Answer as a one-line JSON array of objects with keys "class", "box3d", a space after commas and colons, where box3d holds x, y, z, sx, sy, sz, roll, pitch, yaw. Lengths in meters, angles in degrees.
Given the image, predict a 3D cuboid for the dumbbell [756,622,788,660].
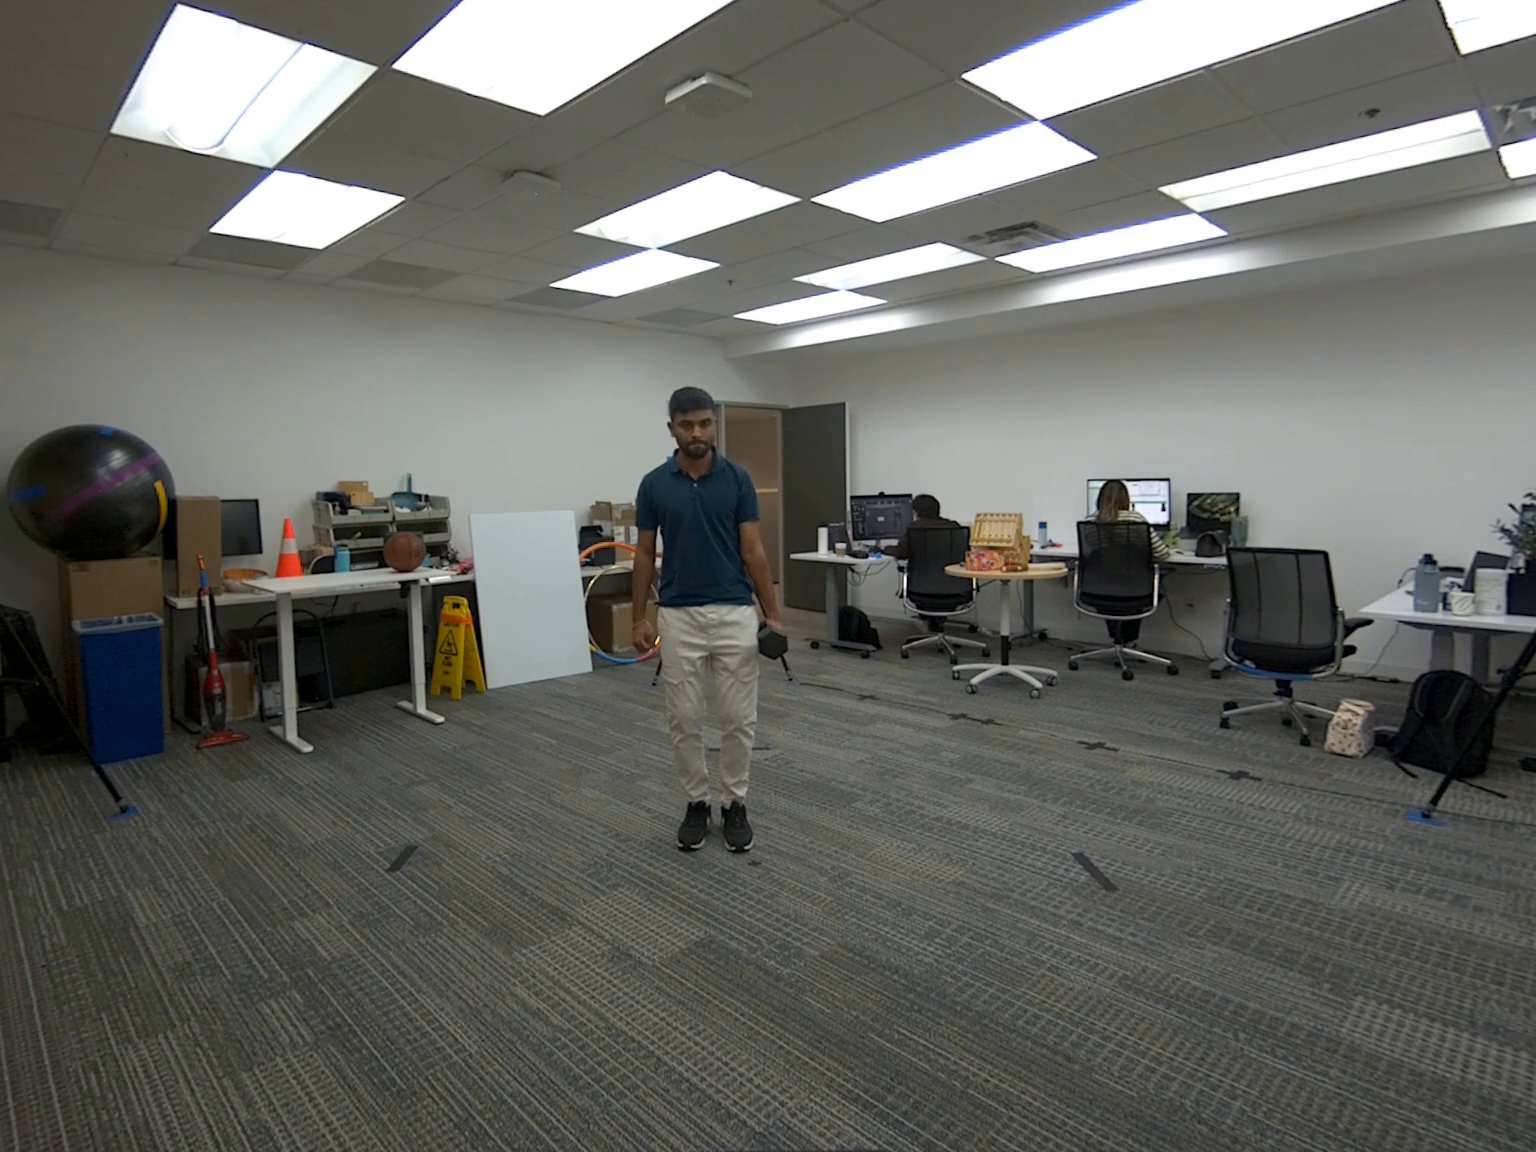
[{"class": "dumbbell", "box3d": [0.005, 0.234, 3.257, 0.108, 0.122, 0.296, -6, 7, -3]}]
